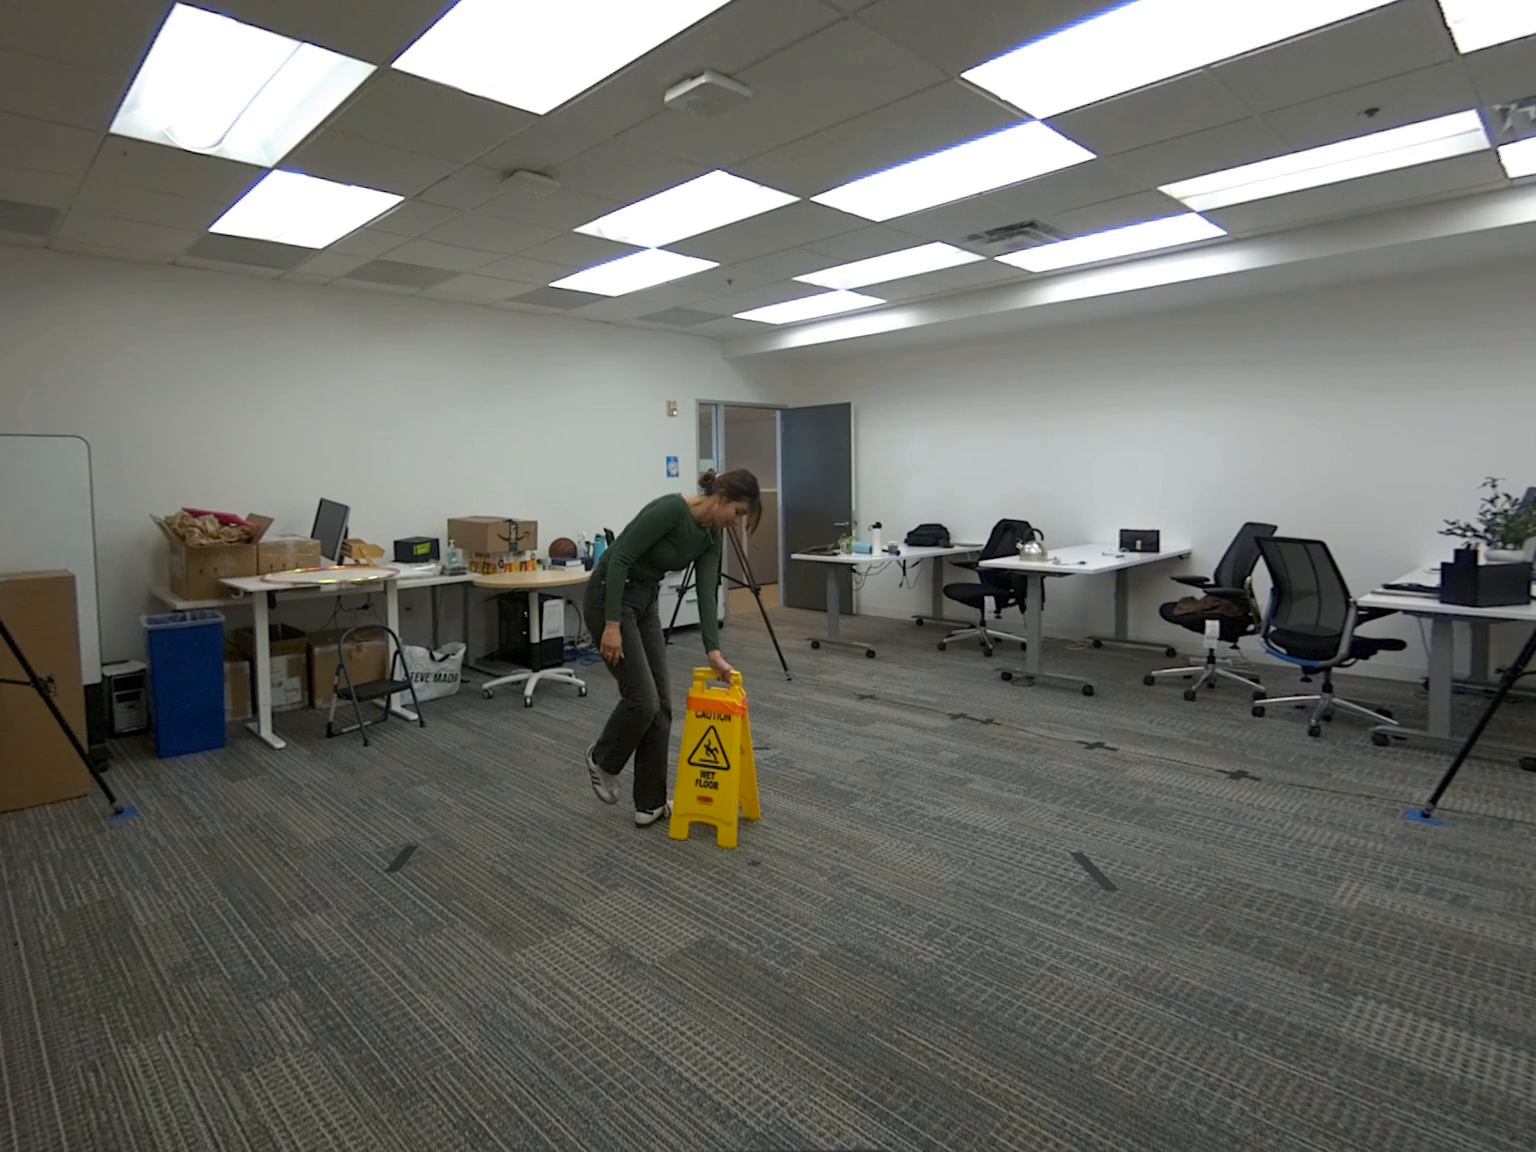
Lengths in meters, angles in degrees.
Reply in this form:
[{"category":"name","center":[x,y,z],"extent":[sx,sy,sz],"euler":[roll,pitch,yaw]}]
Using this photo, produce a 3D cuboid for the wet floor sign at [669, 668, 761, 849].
[{"category":"wet floor sign","center":[-0.205,0.686,3.392],"extent":[0.288,0.643,0.285],"euler":[2,5,19]}]
